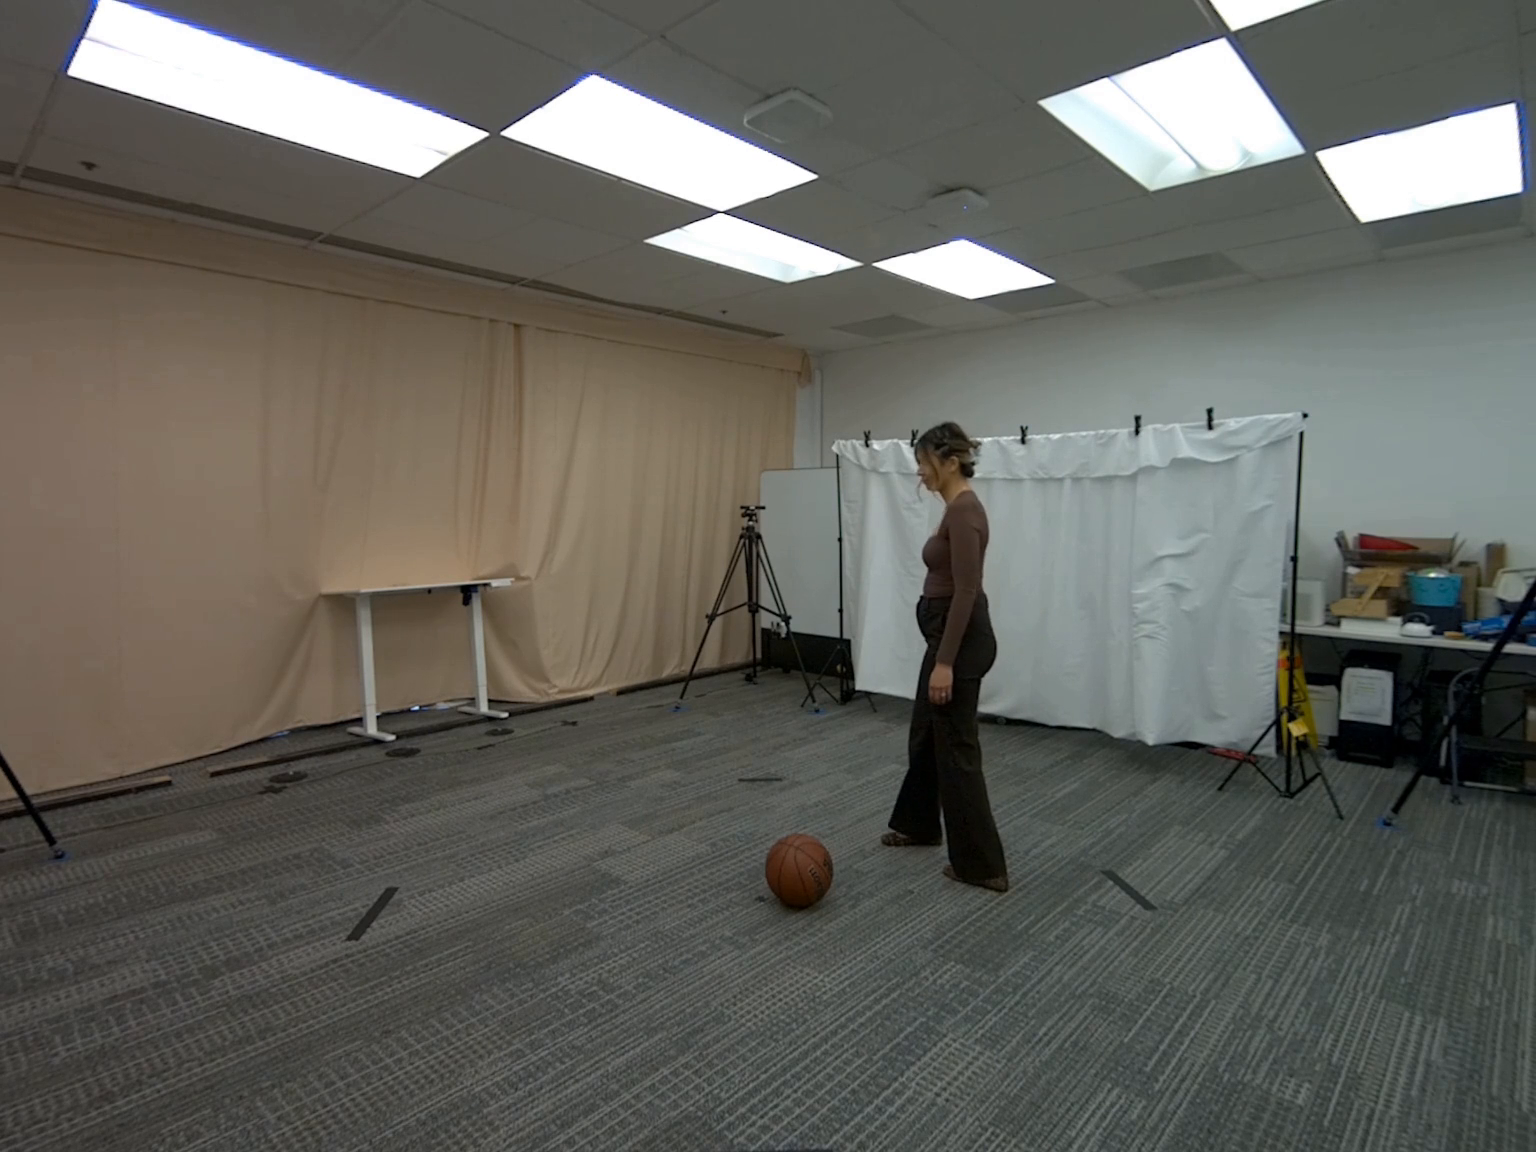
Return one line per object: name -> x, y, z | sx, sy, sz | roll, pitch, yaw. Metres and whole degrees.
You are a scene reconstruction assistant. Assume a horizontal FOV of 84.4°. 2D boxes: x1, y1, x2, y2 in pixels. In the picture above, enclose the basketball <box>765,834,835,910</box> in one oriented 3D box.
basketball -> 0.109, 1.026, 2.947 | 0.236, 0.235, 0.237 | 0, 4, -2
